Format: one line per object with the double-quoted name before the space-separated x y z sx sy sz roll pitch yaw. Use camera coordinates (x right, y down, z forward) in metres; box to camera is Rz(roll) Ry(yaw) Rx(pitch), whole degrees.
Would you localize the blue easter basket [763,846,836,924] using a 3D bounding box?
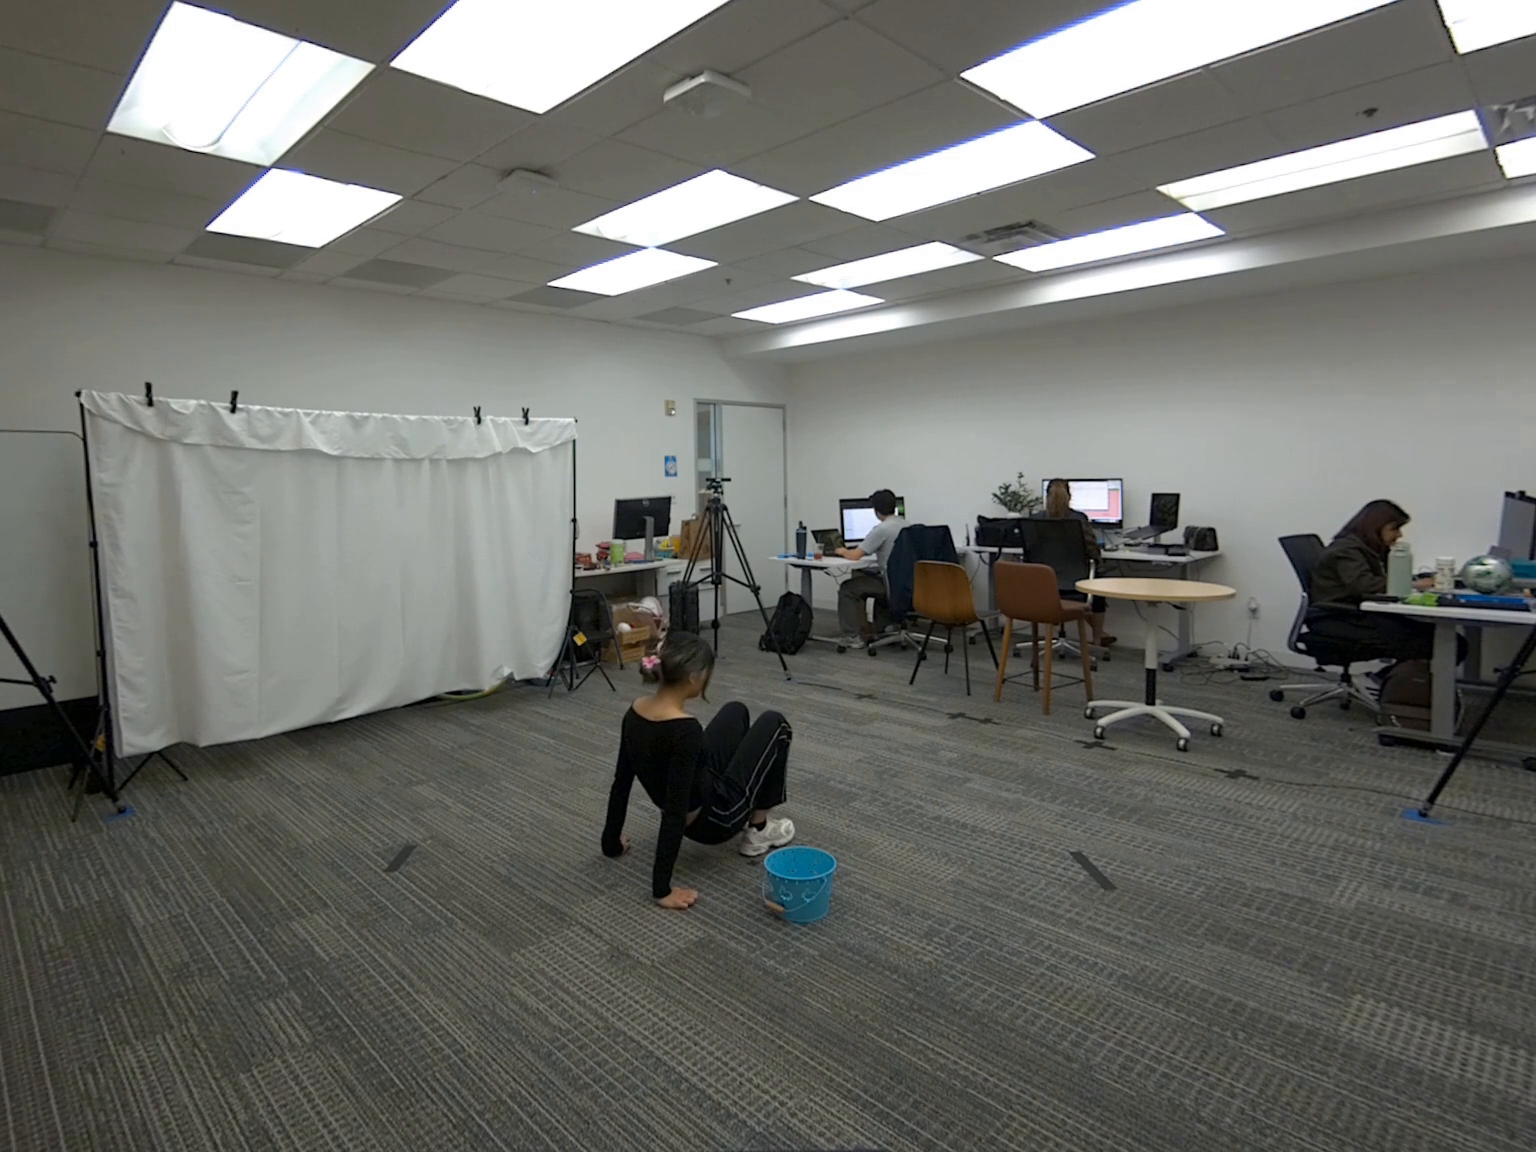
"blue easter basket" 0.105 1.004 2.772 0.243 0.155 0.245 -1 7 -2
